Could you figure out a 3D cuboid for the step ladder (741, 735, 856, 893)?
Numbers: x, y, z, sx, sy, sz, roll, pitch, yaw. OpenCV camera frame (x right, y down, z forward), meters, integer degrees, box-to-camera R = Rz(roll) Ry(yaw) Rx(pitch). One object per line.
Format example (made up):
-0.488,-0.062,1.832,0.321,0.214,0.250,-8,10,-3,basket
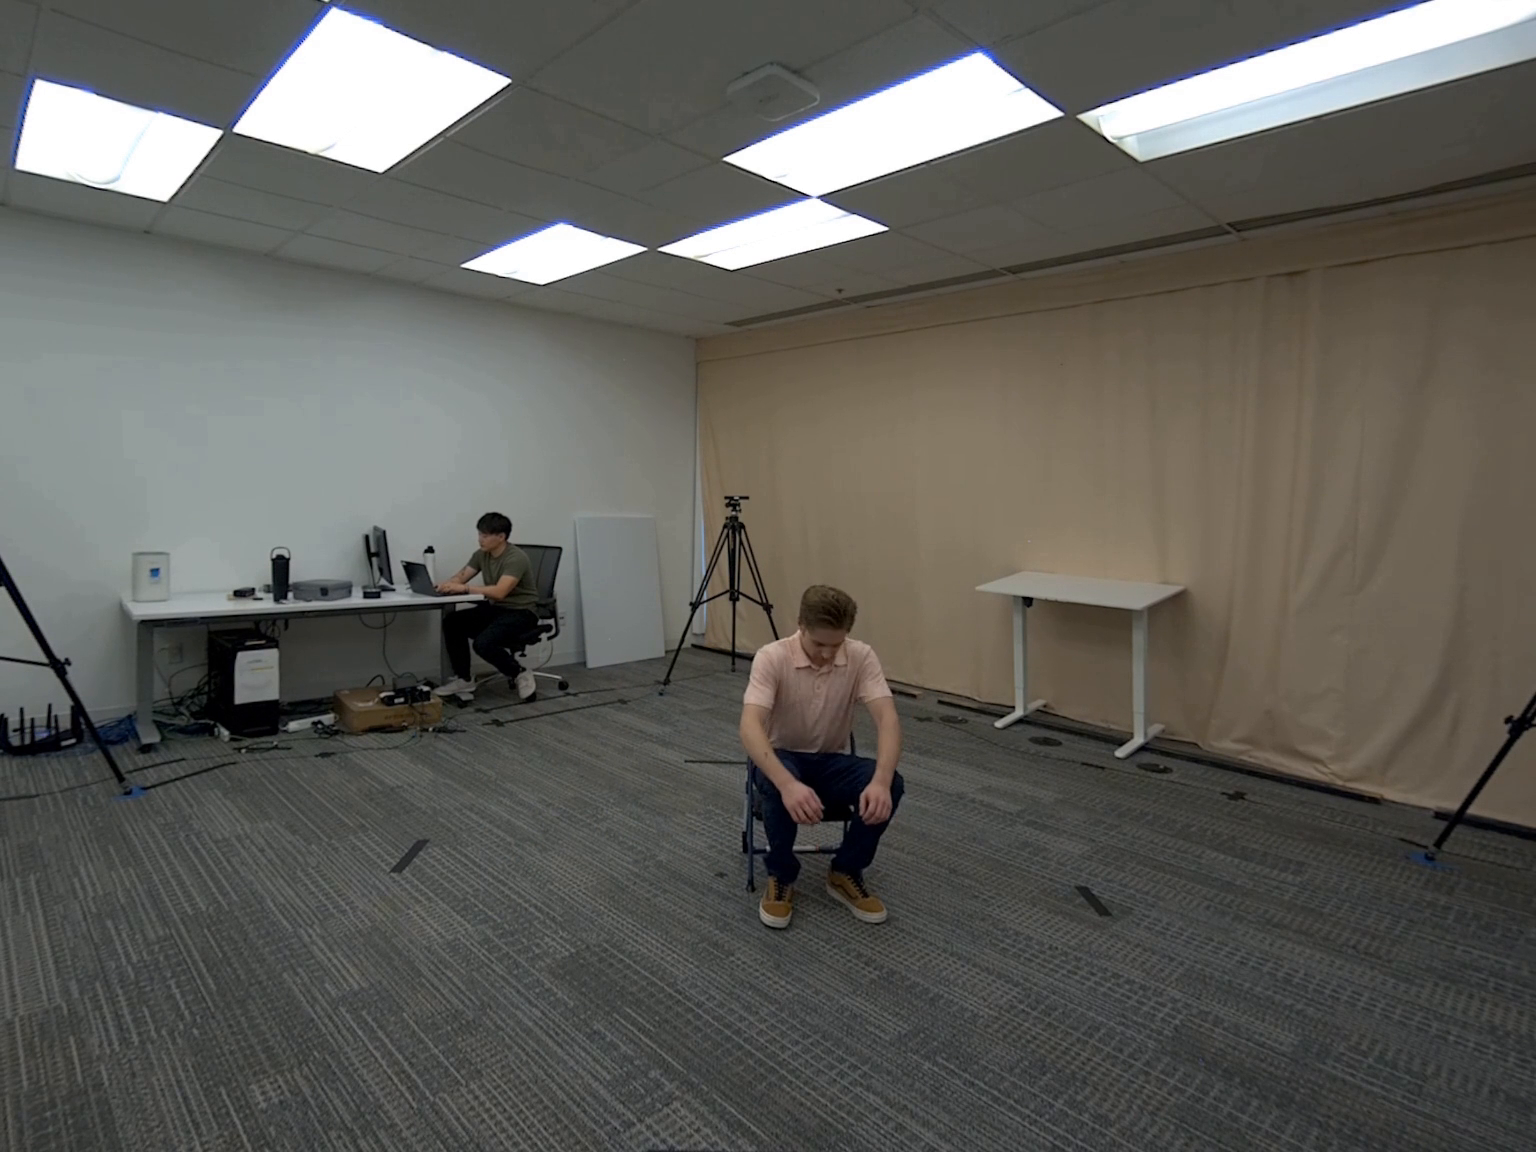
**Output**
0.124,0.812,3.149,0.429,0.604,0.351,1,4,-5,step ladder
